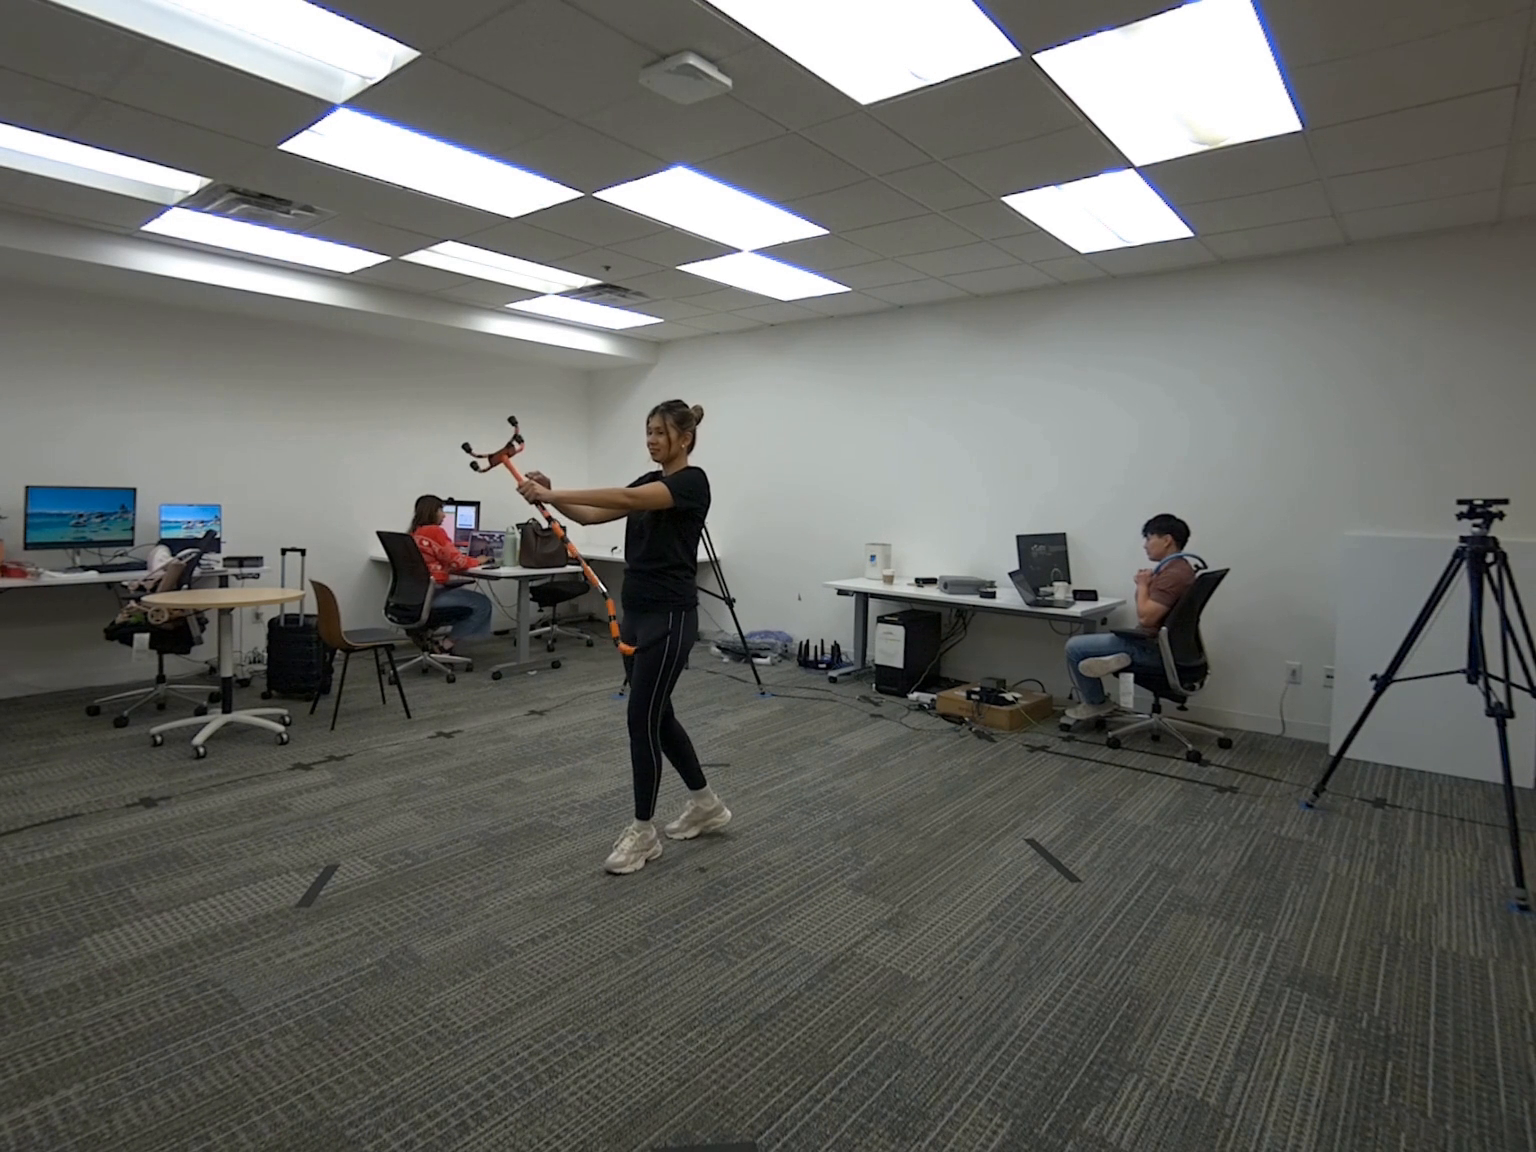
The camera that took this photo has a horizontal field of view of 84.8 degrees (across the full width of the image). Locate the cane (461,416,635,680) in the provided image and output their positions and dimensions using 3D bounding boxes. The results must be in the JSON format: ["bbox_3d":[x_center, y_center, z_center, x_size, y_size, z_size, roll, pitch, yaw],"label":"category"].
[{"bbox_3d":[-0.663,-0.120,2.746,0.205,0.930,0.149,-35,-17,-14],"label":"cane"}]
